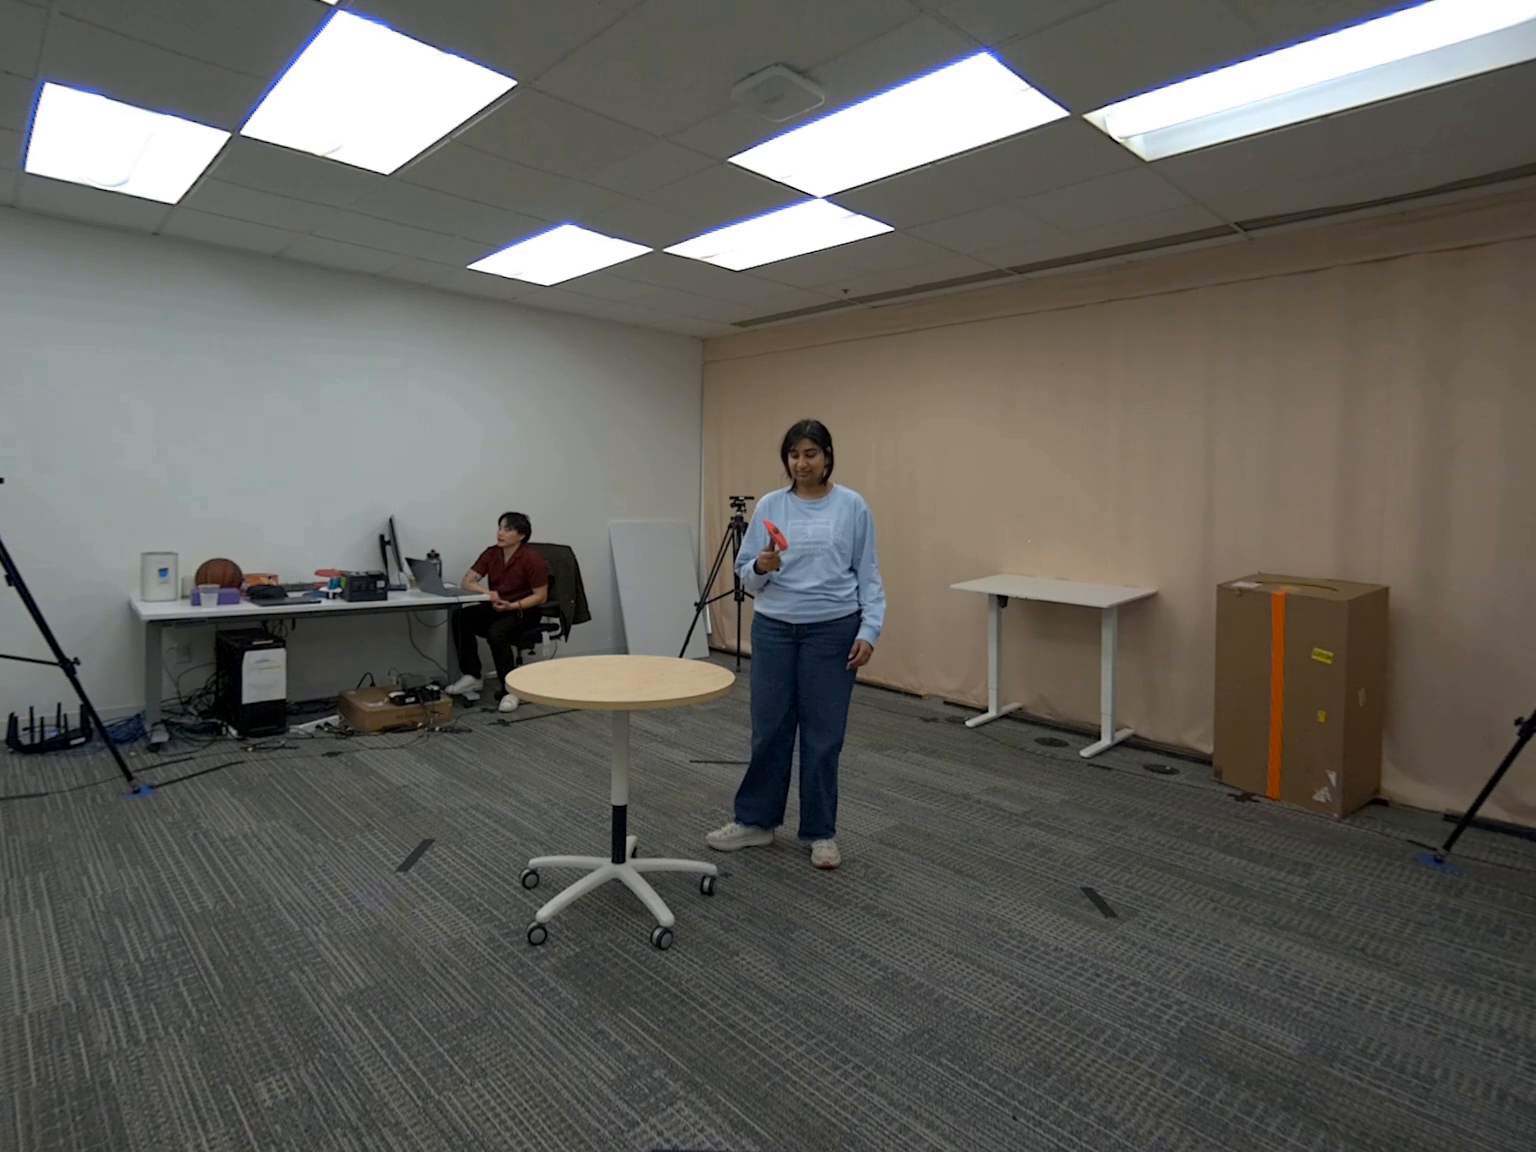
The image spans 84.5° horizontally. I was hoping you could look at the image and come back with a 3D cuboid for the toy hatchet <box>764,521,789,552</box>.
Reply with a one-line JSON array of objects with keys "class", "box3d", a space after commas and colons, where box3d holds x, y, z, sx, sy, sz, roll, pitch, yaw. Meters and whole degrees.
[{"class": "toy hatchet", "box3d": [0.028, -0.084, 2.985, 0.029, 0.263, 0.135, -36, 55, -16]}]
